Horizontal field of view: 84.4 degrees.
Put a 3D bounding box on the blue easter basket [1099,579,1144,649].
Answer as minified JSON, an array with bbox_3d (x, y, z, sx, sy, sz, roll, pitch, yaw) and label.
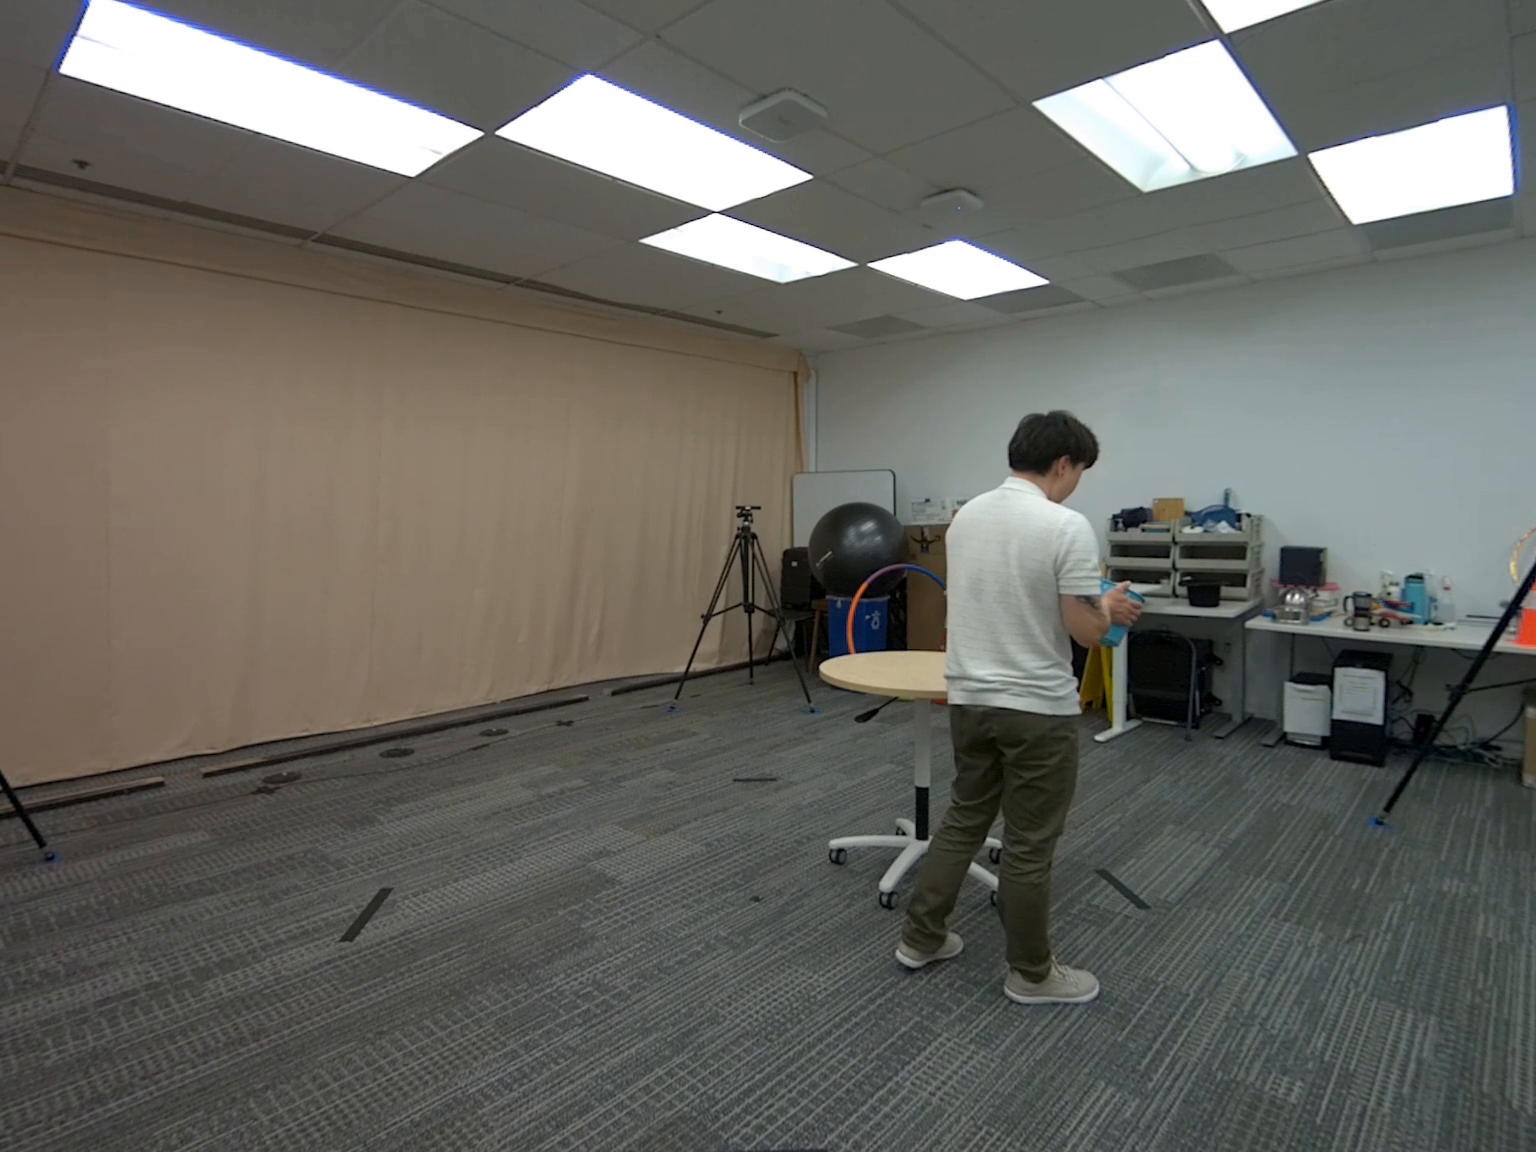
[{"bbox_3d":[1.005,0.115,2.499,0.244,0.156,0.243,21,-4,0],"label":"blue easter basket"}]
